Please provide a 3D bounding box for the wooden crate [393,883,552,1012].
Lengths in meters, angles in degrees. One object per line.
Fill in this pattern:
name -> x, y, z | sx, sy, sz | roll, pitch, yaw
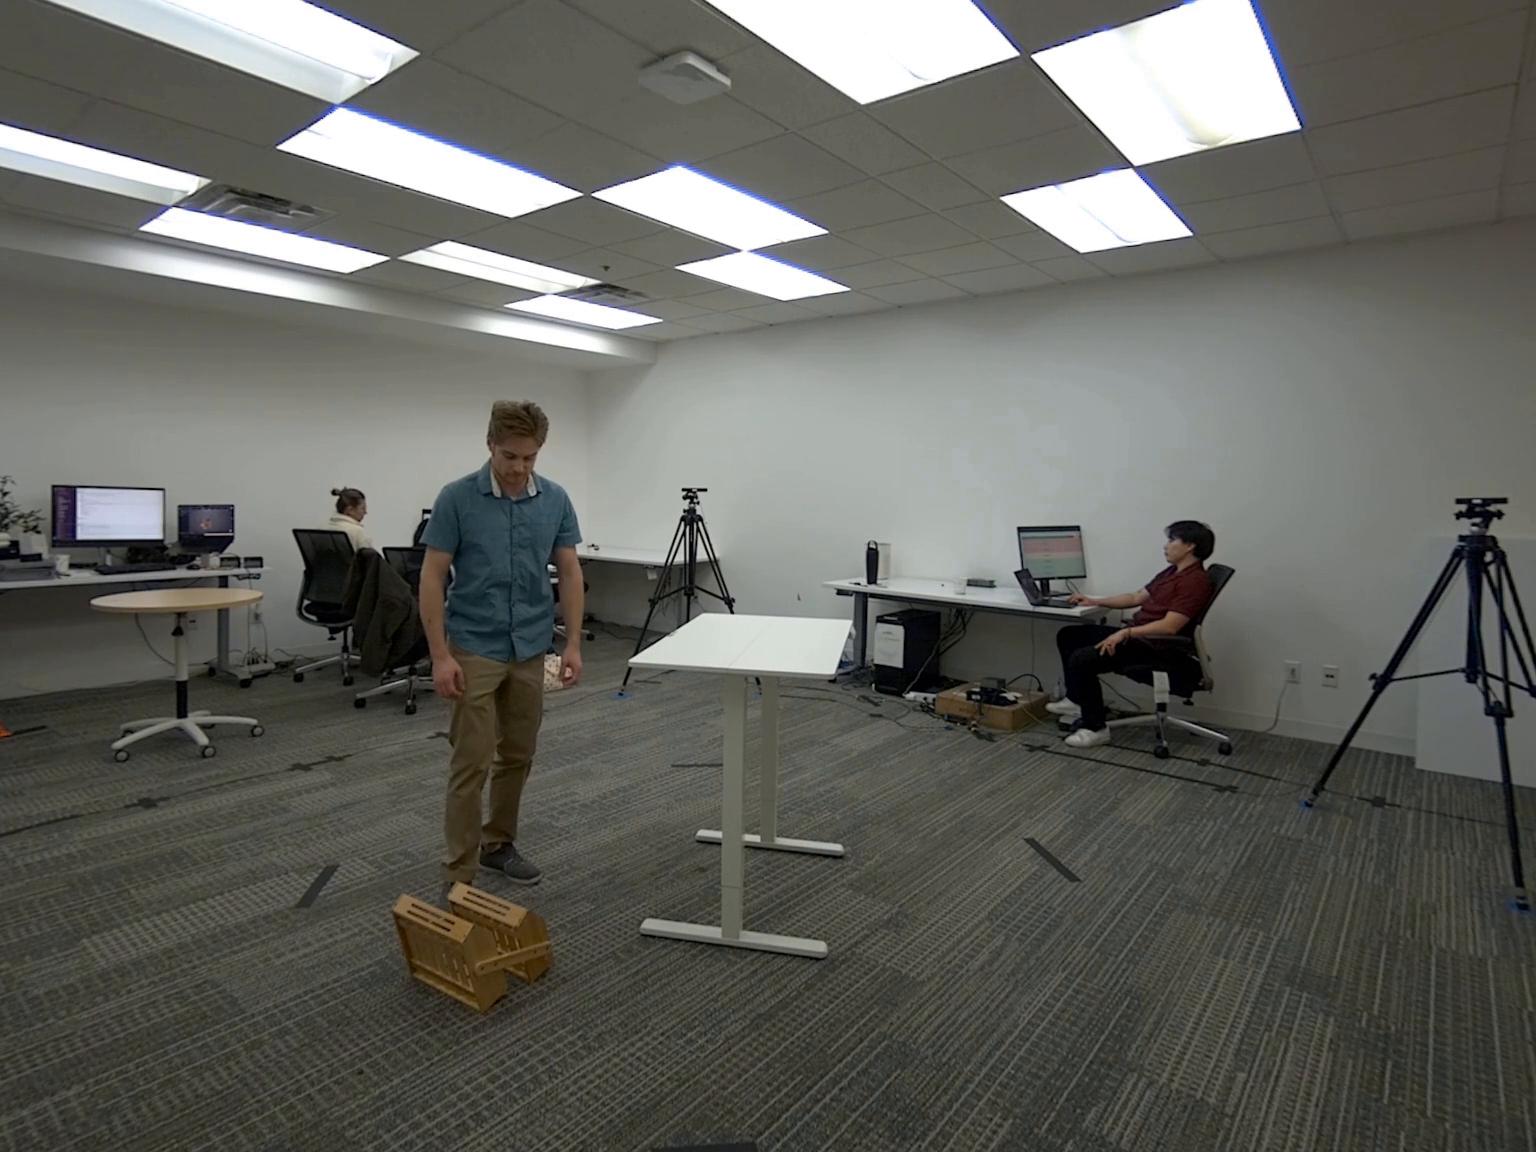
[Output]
wooden crate -> -0.833, 0.996, 2.398 | 0.334, 0.296, 0.270 | 3, 21, 31
